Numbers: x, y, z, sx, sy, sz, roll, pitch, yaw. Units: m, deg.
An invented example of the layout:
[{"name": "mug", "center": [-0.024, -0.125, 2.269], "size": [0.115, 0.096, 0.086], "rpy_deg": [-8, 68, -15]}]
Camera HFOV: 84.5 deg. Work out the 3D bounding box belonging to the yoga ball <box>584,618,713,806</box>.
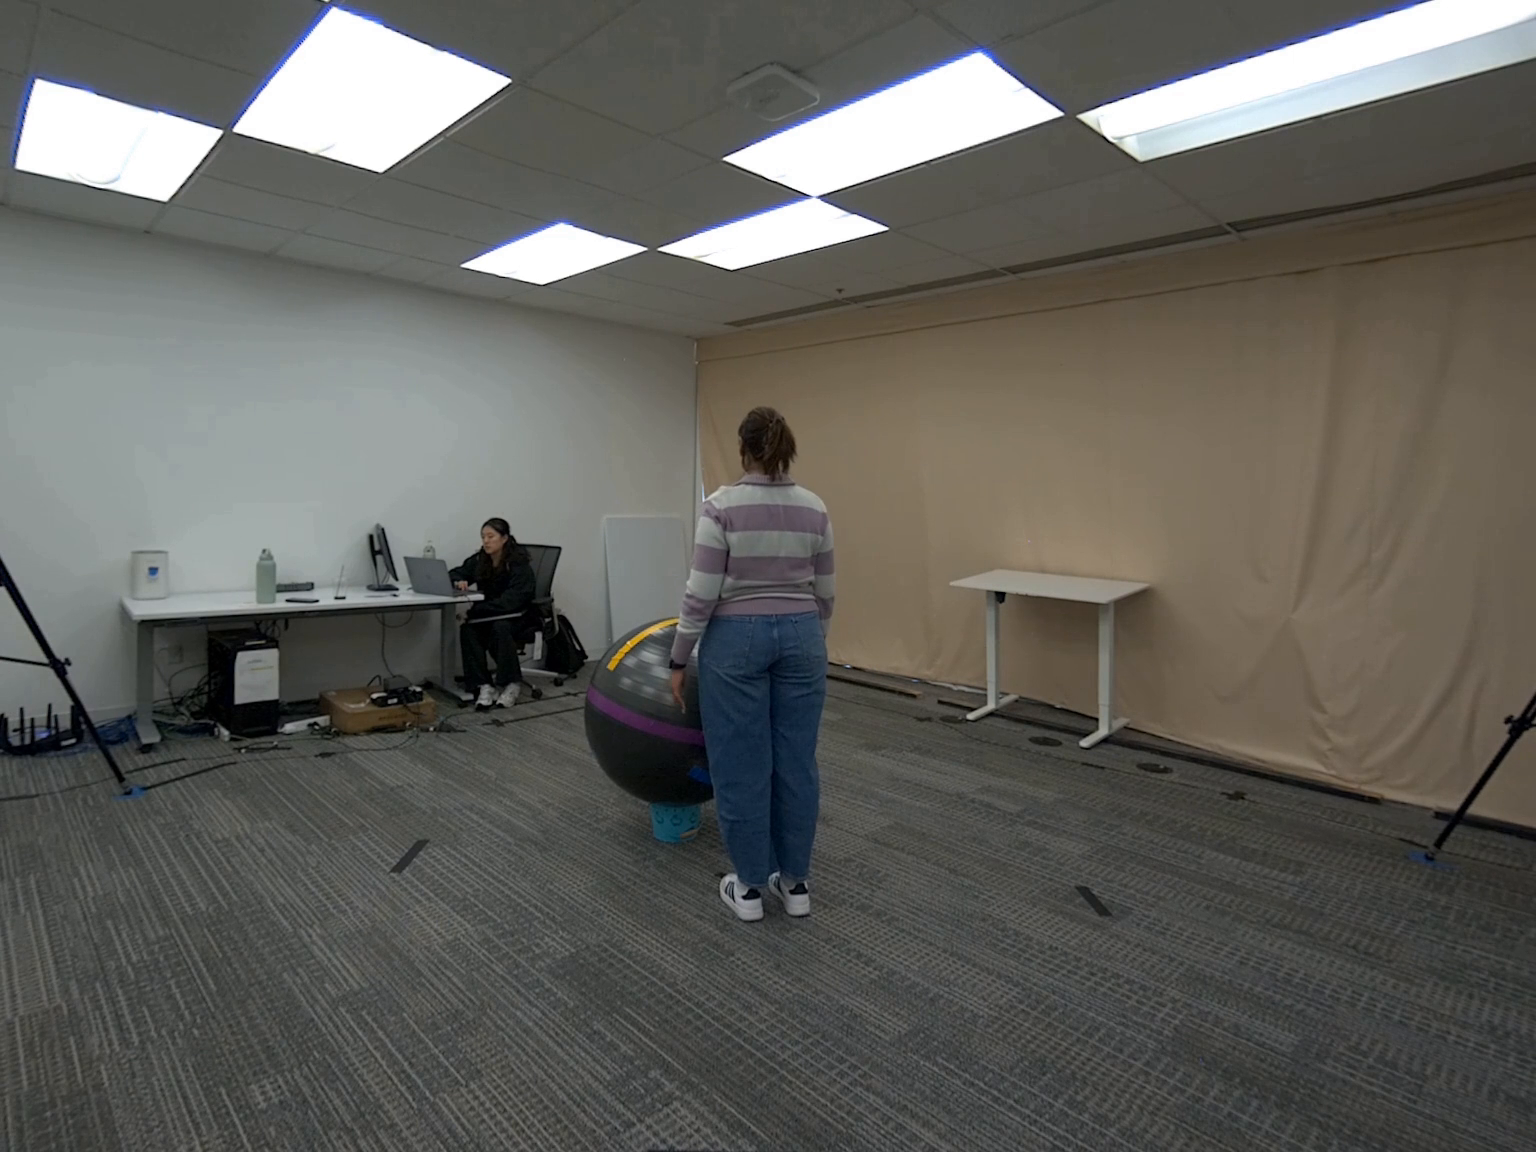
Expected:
[{"name": "yoga ball", "center": [-0.389, 0.555, 3.483], "size": [0.757, 0.756, 0.761], "rpy_deg": [1, 4, -1]}]
